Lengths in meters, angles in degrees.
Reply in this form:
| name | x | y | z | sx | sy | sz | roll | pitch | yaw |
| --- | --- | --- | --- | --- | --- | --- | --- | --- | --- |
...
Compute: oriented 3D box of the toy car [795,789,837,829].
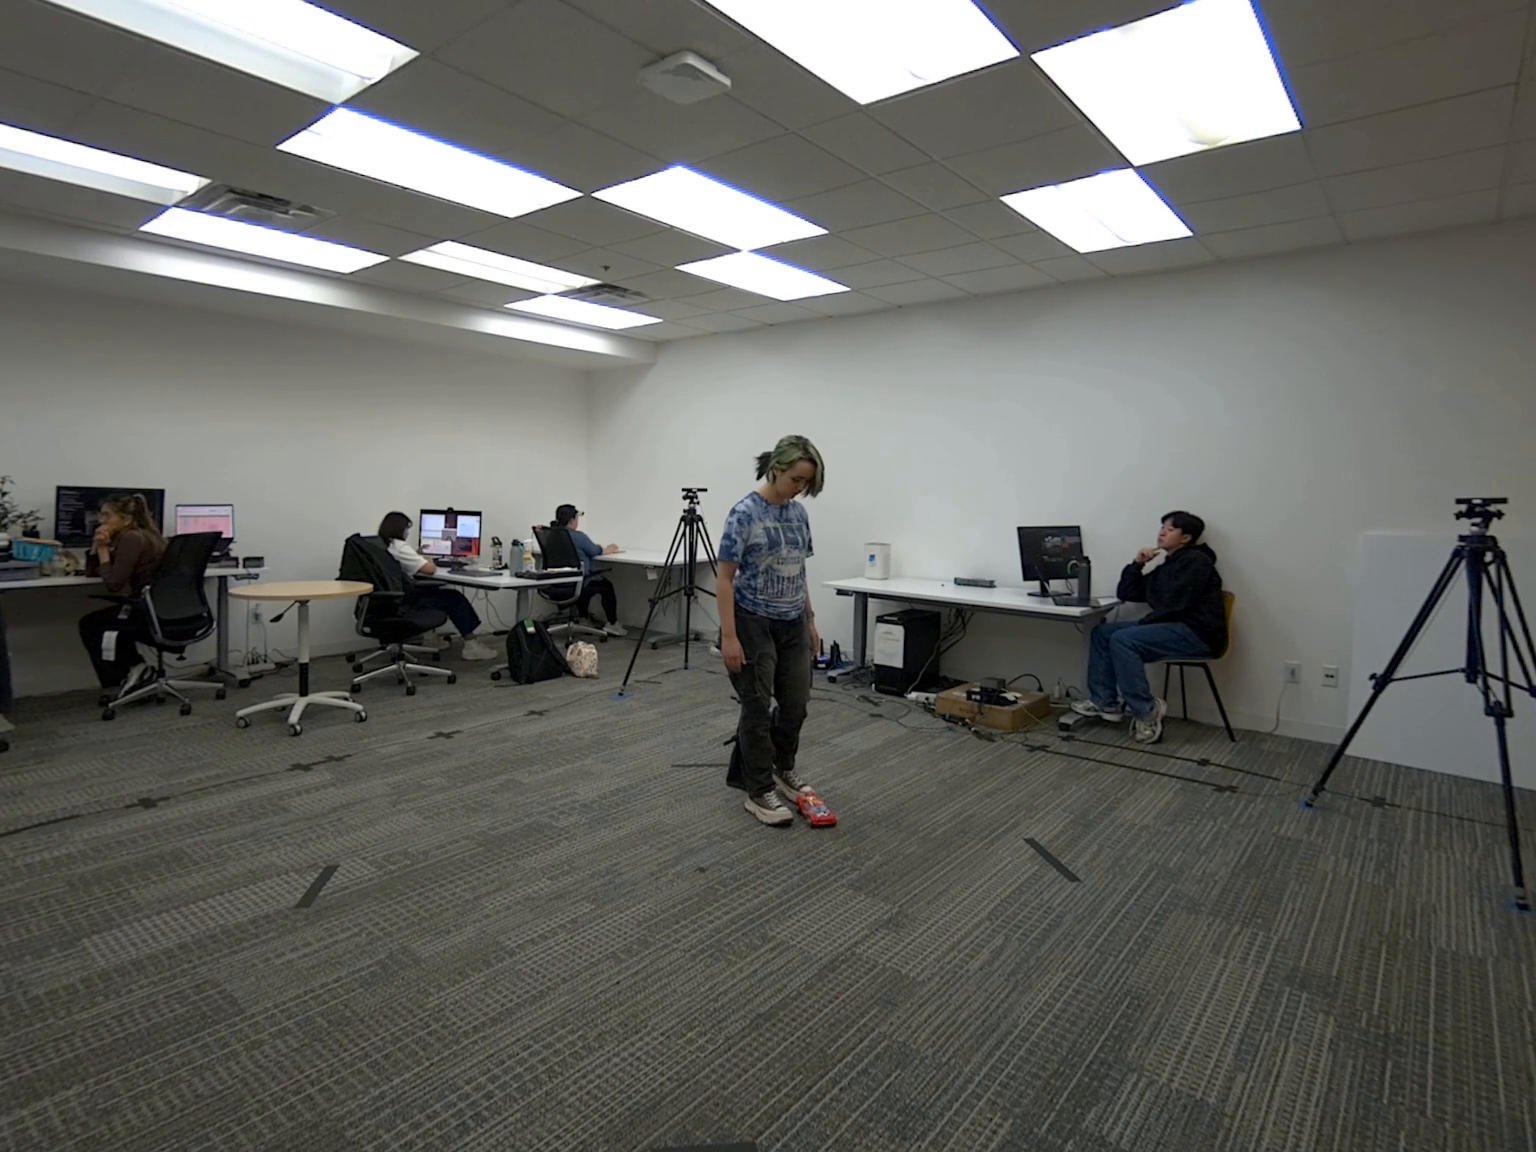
| name | x | y | z | sx | sy | sz | roll | pitch | yaw |
| --- | --- | --- | --- | --- | --- | --- | --- | --- | --- |
| toy car | 0.191 | 0.995 | 3.616 | 0.128 | 0.082 | 0.262 | 1 | 16 | -16 |
